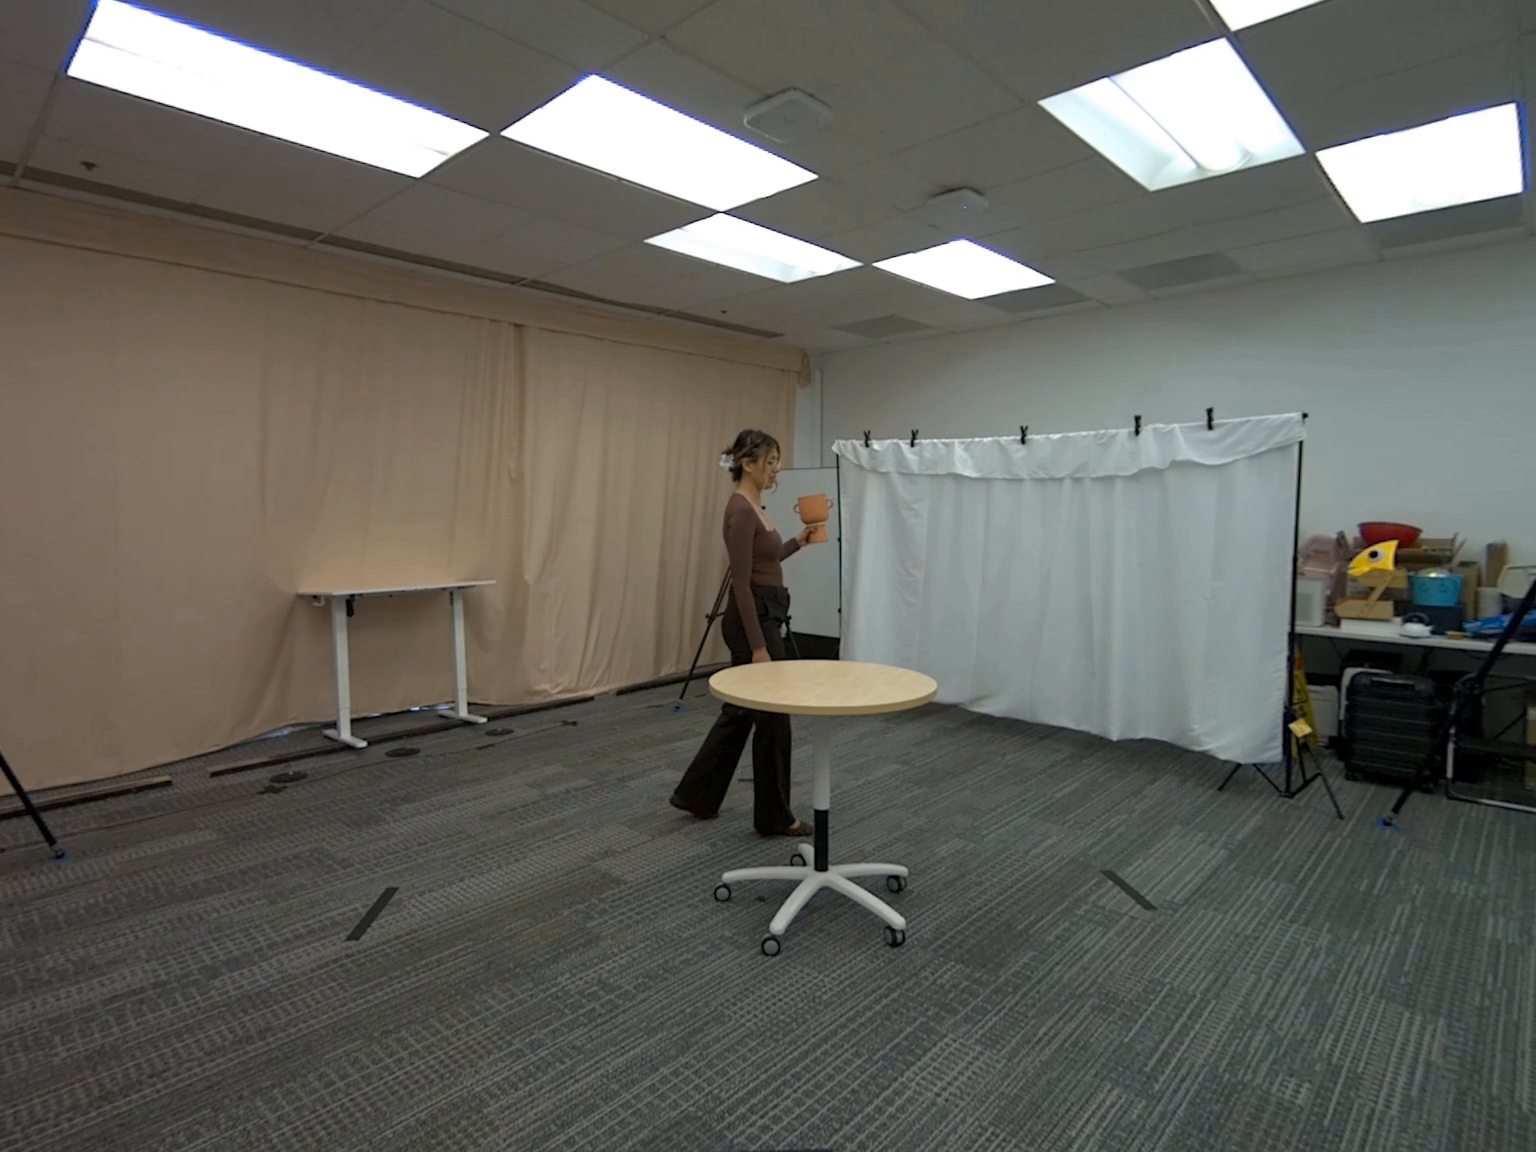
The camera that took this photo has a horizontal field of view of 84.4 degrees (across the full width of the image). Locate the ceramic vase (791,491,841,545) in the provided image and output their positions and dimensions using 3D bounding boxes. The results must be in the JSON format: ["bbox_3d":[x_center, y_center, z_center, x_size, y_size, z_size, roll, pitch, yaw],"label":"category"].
[{"bbox_3d":[0.215,-0.264,3.854,0.131,0.219,0.163,-8,4,-27],"label":"ceramic vase"}]
